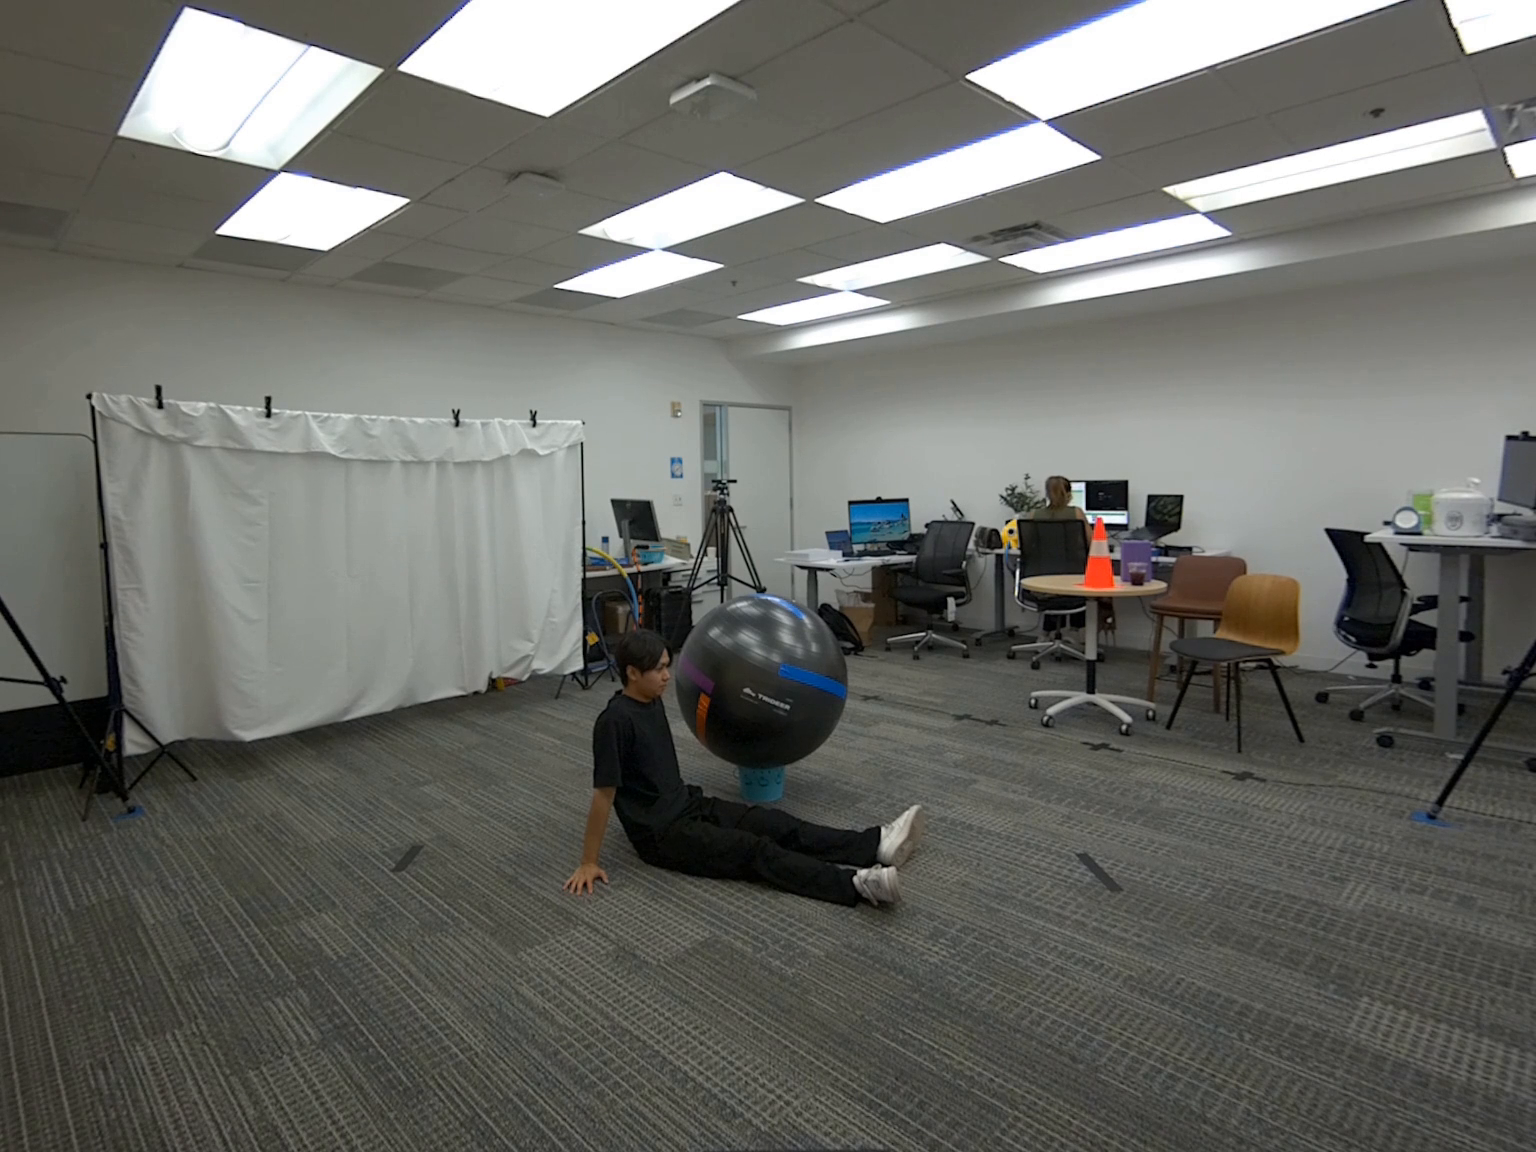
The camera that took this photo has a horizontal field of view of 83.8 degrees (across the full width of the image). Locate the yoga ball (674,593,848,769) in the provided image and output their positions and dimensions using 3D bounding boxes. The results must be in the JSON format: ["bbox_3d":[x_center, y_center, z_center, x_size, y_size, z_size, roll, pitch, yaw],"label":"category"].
[{"bbox_3d":[-0.026,0.465,3.780,0.757,0.755,0.762,-1,5,-2],"label":"yoga ball"}]
